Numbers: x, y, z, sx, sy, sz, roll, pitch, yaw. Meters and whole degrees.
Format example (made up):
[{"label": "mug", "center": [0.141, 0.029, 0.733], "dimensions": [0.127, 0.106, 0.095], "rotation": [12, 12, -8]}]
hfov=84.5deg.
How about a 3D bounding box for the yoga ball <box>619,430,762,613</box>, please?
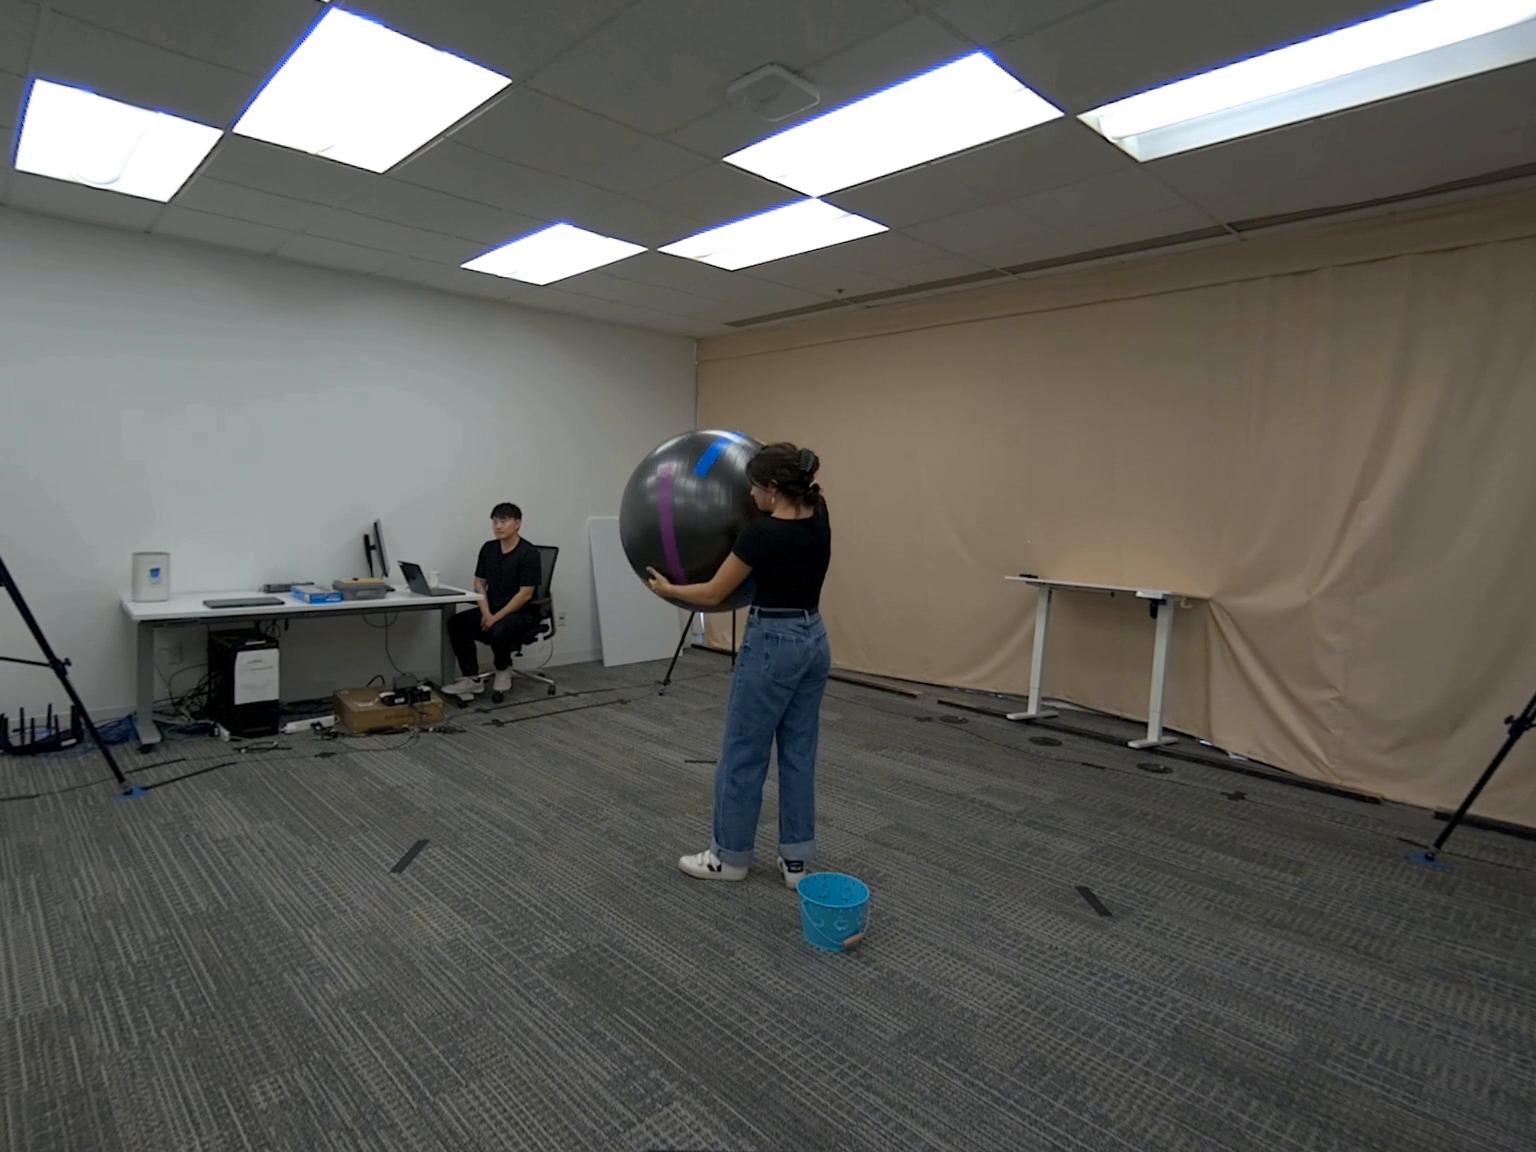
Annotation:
[{"label": "yoga ball", "center": [-0.237, -0.222, 3.478], "dimensions": [0.757, 0.756, 0.761], "rotation": [1, 4, -1]}]
